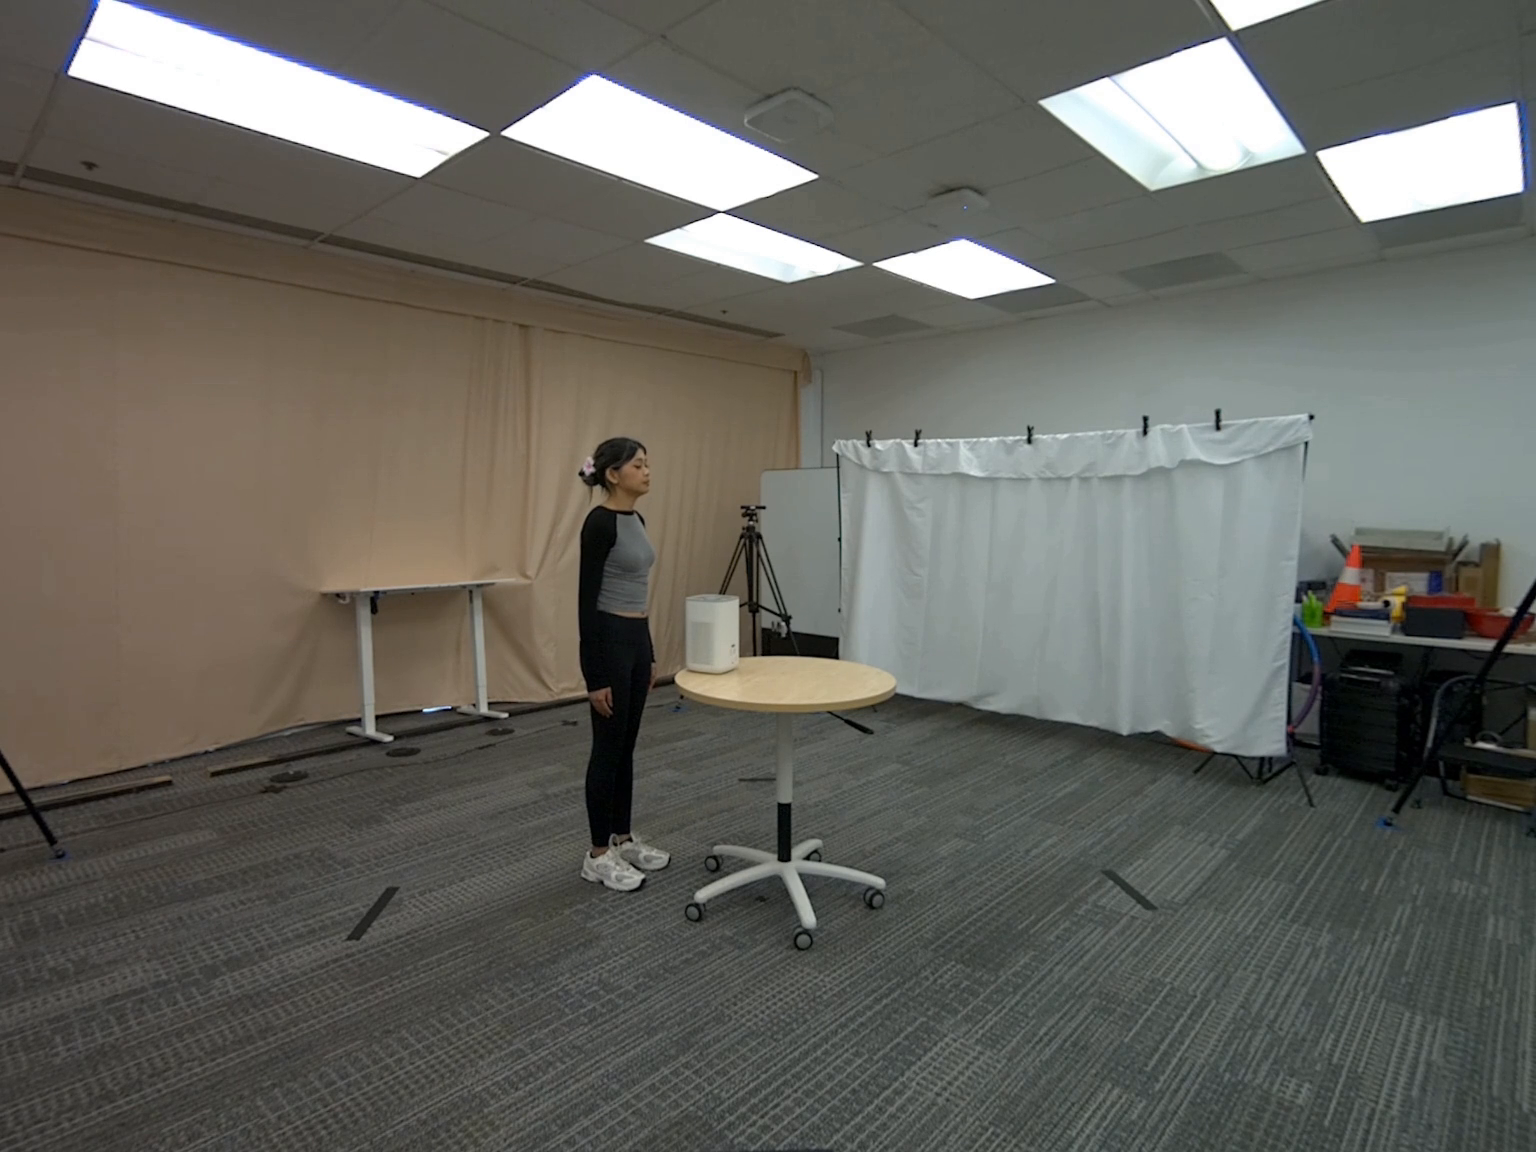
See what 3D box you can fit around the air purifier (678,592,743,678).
[{"bbox_3d":[-0.208,0.205,3.043,0.175,0.265,0.168,2,5,23],"label":"air purifier"}]
